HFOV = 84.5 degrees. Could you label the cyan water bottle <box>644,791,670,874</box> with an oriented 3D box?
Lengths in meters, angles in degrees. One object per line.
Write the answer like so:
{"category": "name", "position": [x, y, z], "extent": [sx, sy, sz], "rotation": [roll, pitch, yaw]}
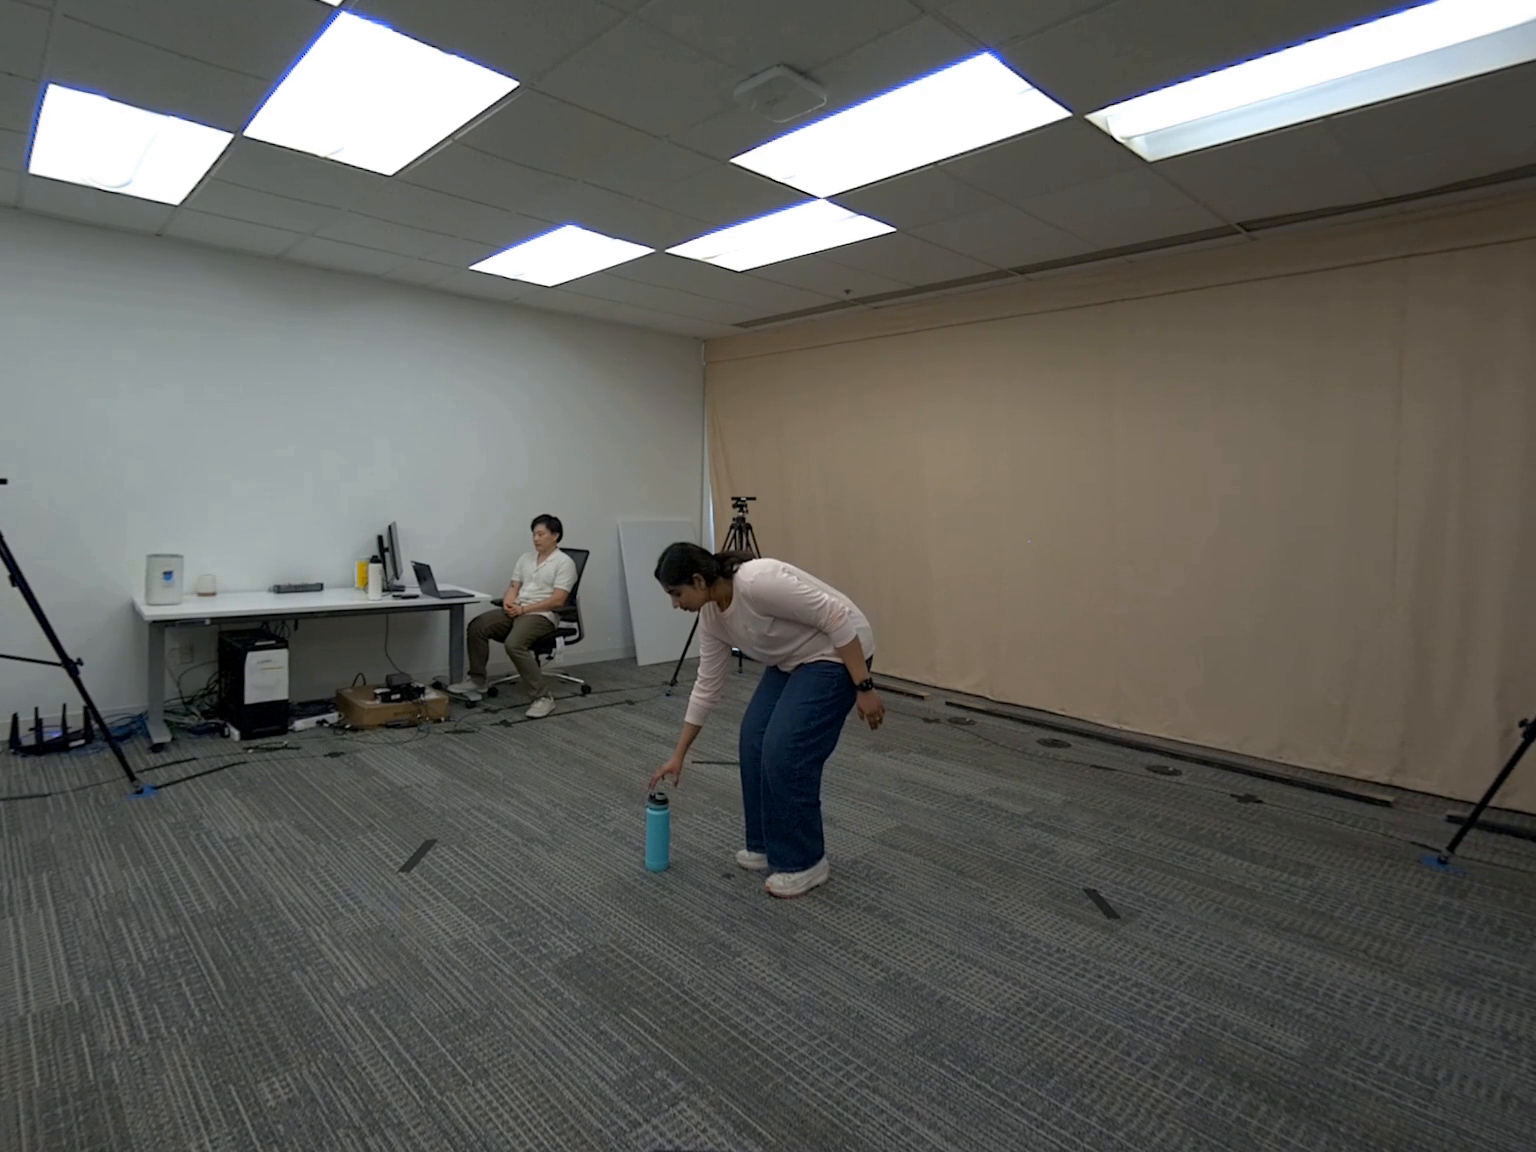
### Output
{"category": "cyan water bottle", "position": [-0.417, 0.952, 3.167], "extent": [0.092, 0.283, 0.092], "rotation": [1, 3, -1]}
